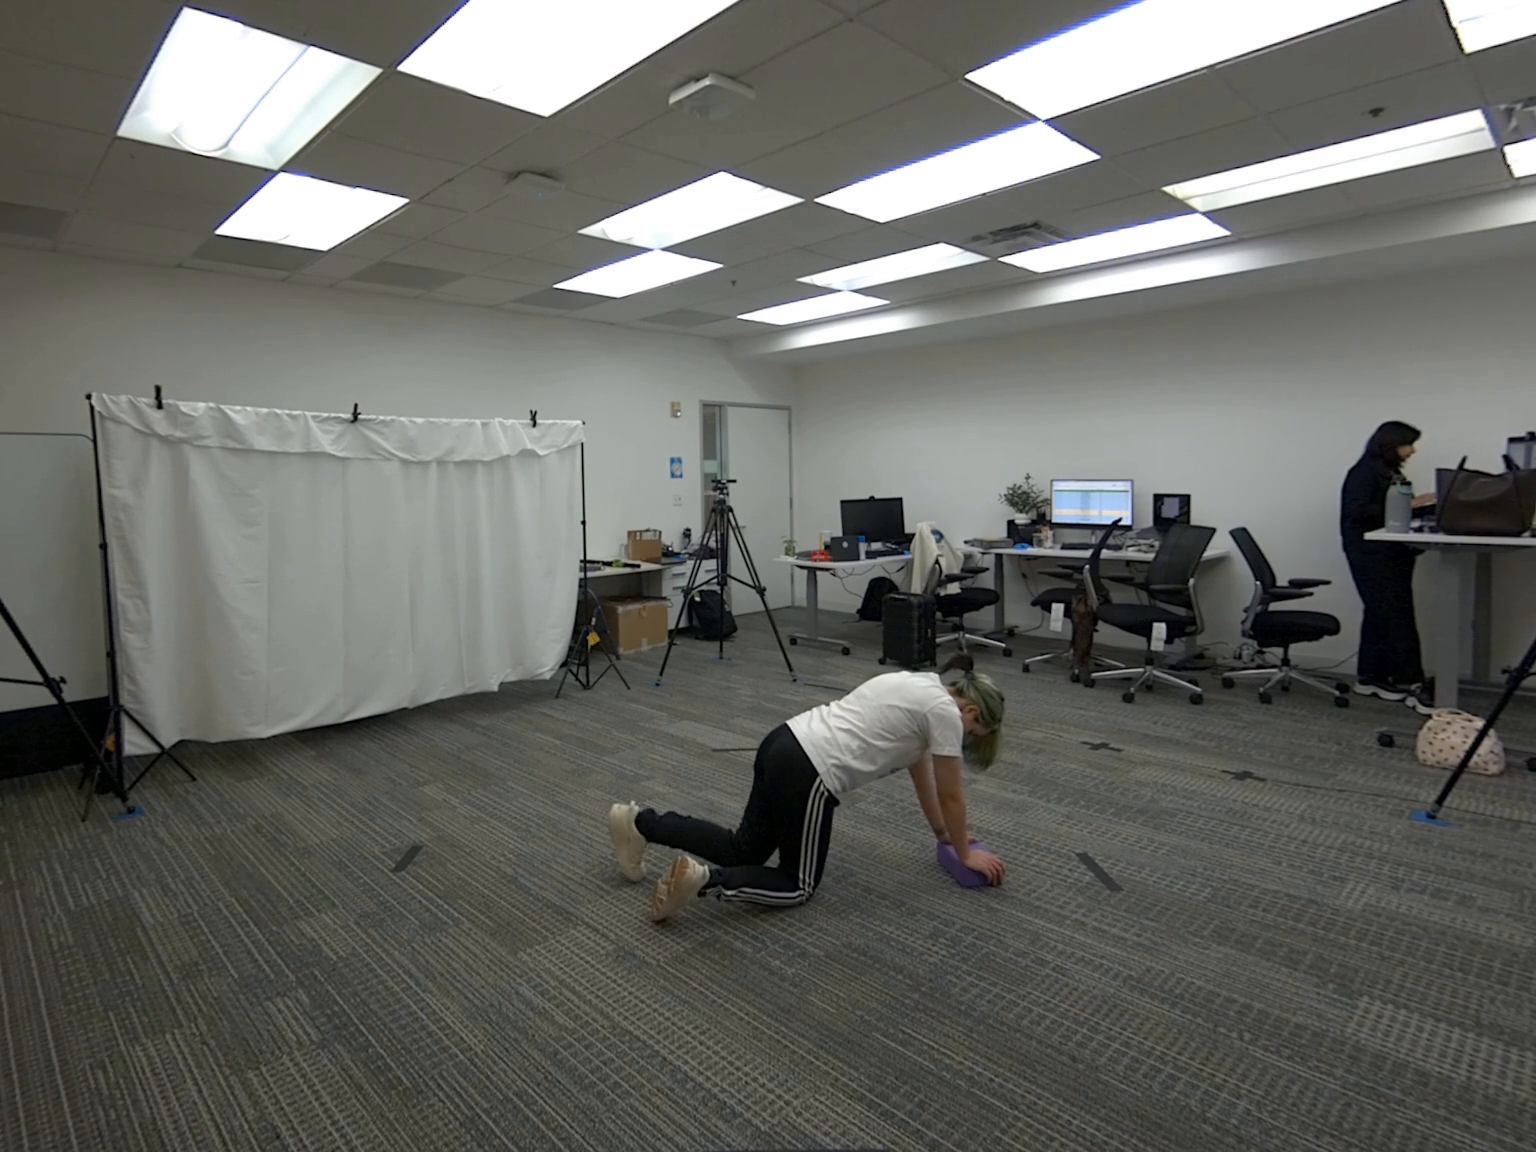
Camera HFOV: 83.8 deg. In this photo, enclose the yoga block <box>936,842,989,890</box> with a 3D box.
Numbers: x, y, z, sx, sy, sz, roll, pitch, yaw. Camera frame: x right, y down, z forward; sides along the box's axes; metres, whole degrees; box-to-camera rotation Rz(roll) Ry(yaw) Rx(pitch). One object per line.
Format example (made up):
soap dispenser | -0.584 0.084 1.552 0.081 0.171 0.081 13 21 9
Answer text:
yoga block | 0.708 1.006 3.009 0.148 0.076 0.232 -2 5 -10
